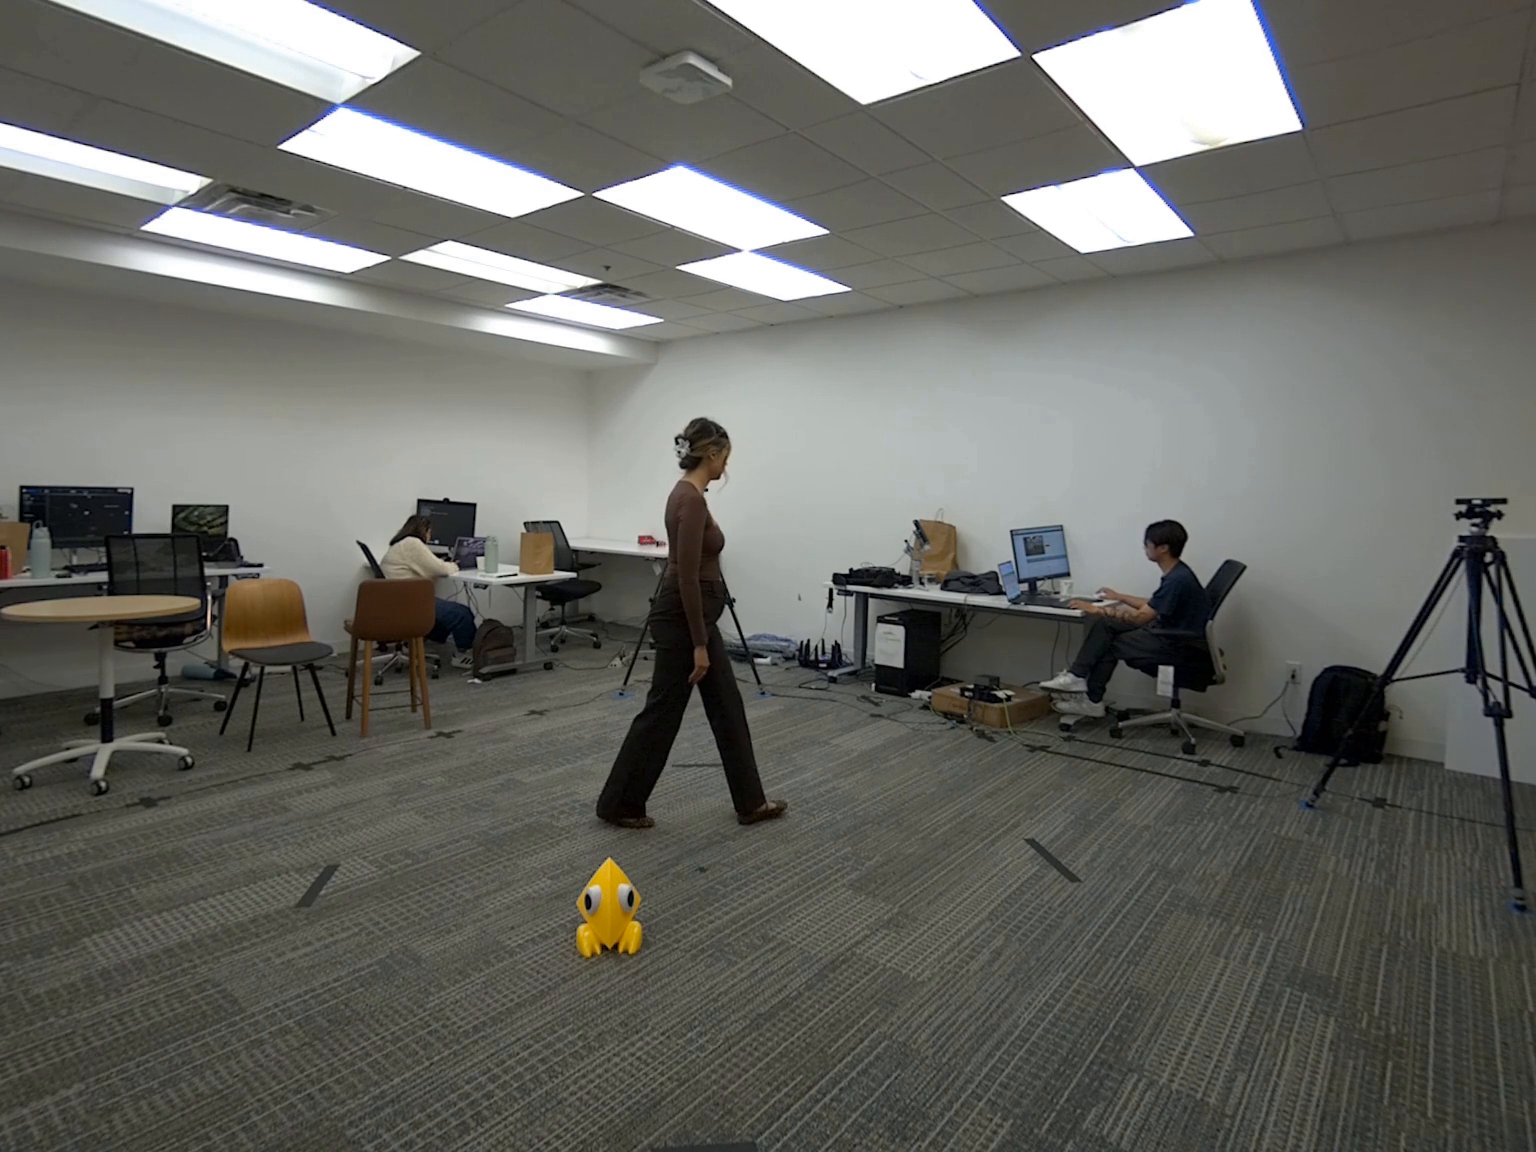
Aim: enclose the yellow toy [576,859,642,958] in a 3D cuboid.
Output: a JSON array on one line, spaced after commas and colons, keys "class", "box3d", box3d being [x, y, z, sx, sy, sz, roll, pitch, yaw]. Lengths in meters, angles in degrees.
[{"class": "yellow toy", "box3d": [-0.496, 1.000, 2.602, 0.203, 0.230, 0.196, -1, 4, -10]}]
